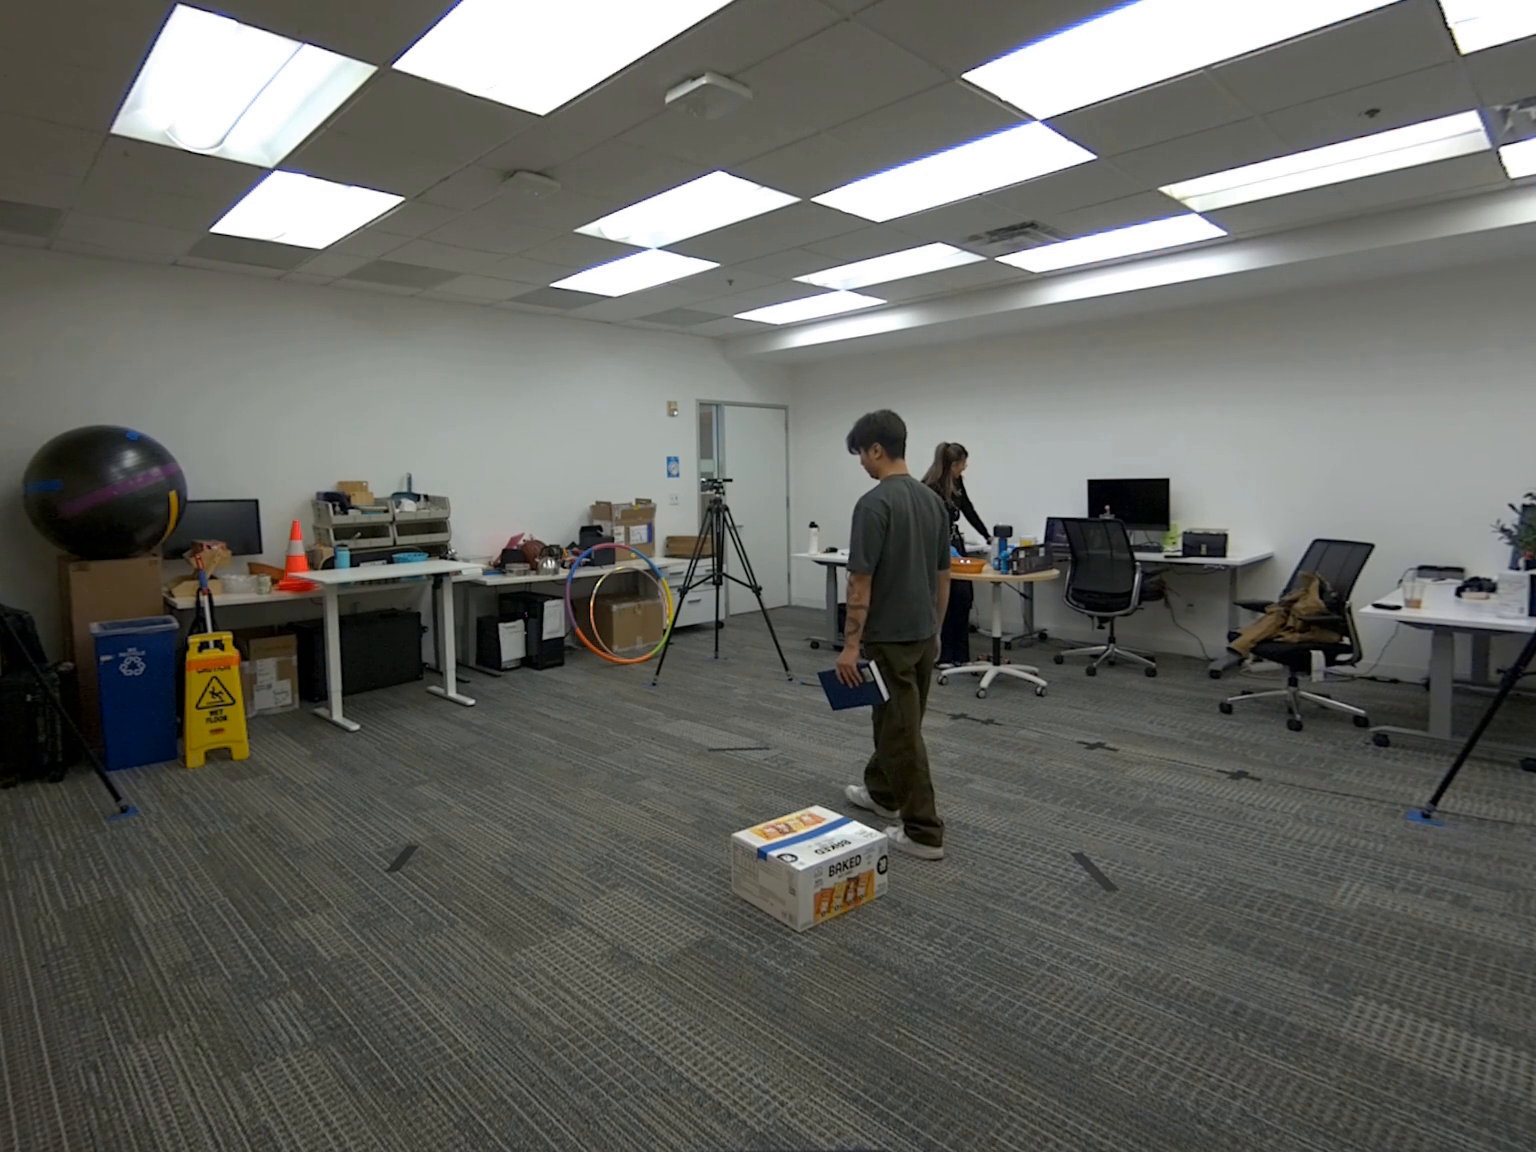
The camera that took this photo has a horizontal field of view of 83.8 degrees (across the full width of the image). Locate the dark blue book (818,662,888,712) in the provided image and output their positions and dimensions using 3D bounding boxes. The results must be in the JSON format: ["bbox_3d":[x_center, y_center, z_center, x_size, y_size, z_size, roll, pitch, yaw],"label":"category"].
[{"bbox_3d":[0.315,0.407,3.209,0.250,0.163,0.044,-16,6,41],"label":"dark blue book"}]
